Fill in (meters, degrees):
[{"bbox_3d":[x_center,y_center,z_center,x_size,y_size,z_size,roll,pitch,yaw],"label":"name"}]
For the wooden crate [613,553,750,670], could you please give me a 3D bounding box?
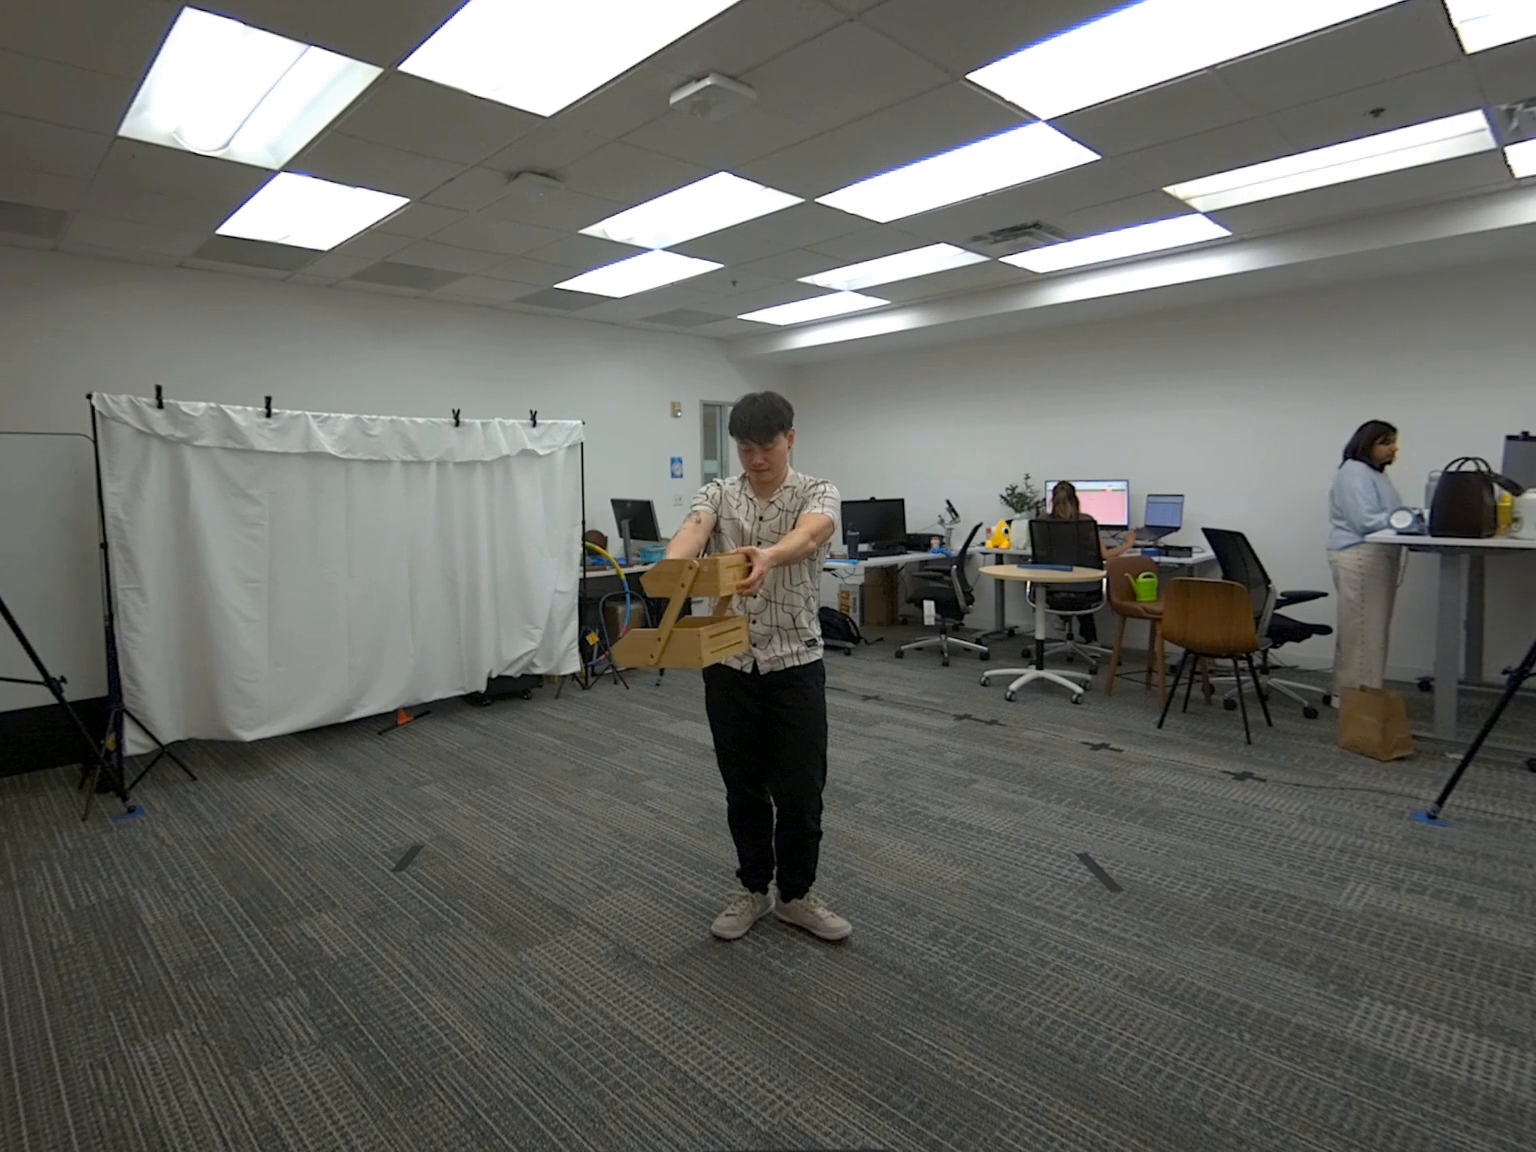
[{"bbox_3d":[-0.190,0.080,2.170,0.308,0.273,0.318,-2,2,22],"label":"wooden crate"}]
